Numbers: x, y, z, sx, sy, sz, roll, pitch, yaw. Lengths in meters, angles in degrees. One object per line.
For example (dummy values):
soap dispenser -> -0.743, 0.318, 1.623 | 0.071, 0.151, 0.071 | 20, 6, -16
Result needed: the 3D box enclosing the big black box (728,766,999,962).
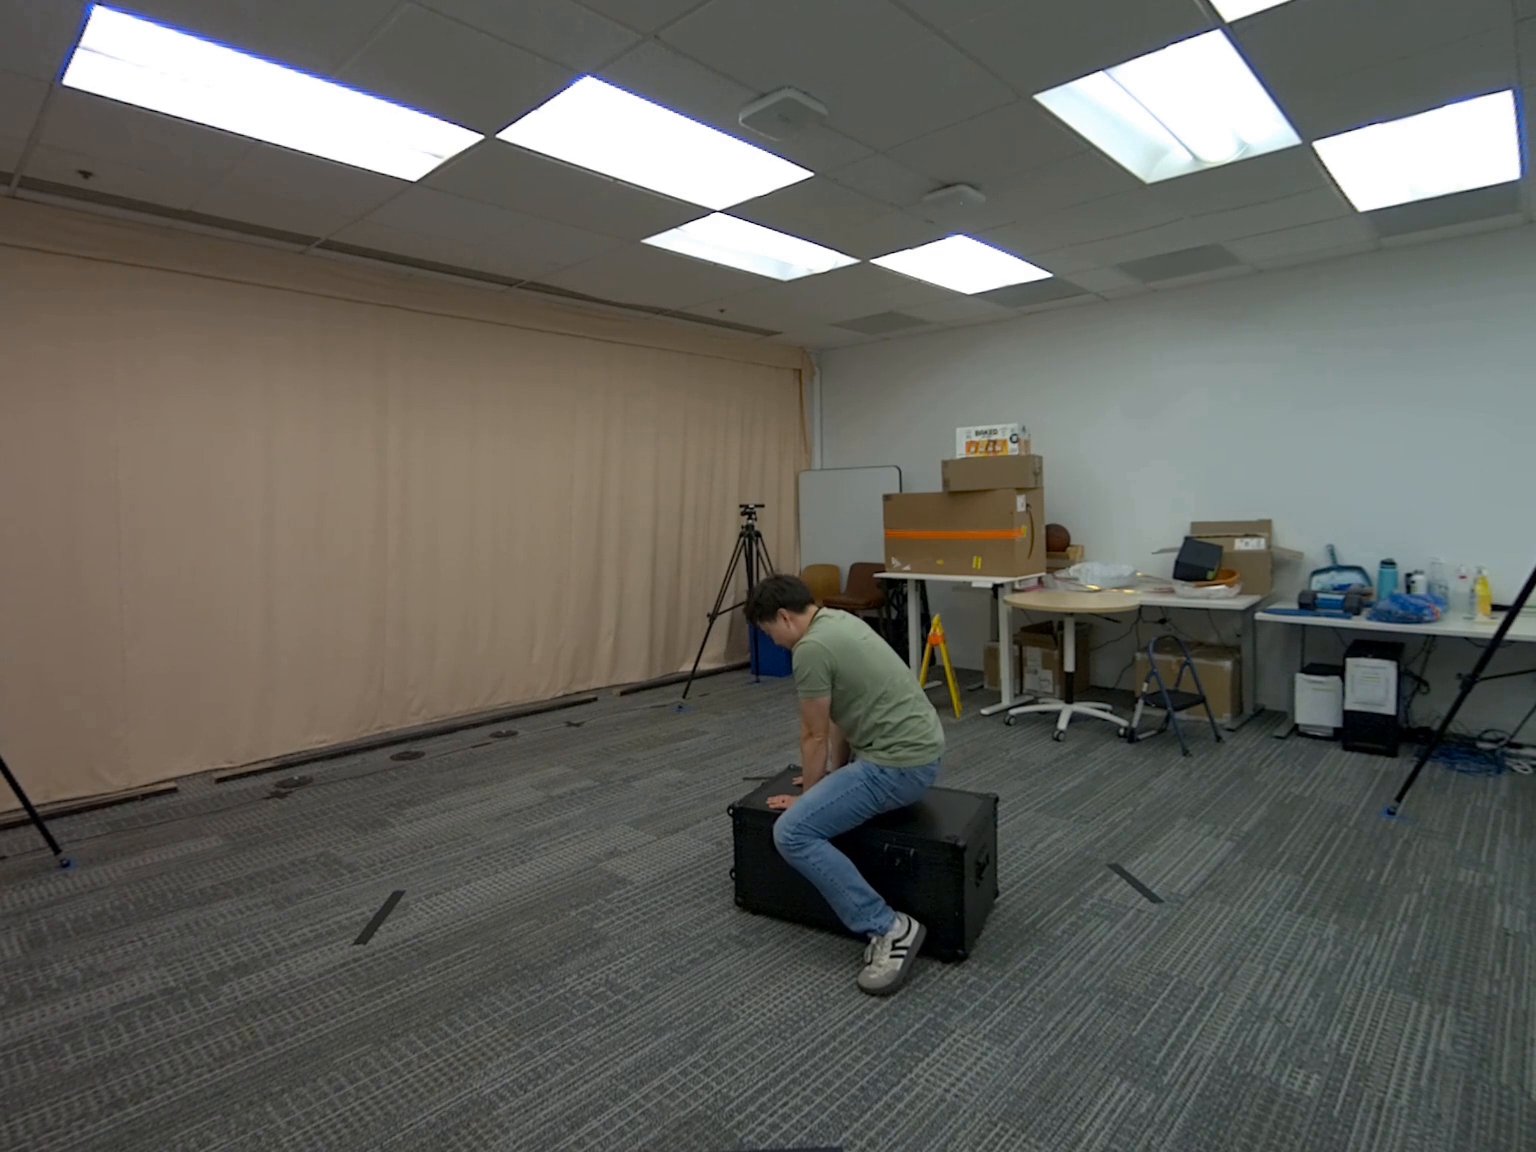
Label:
big black box -> 0.314, 0.953, 2.906 | 0.885, 0.395, 0.509 | 2, 5, 27
